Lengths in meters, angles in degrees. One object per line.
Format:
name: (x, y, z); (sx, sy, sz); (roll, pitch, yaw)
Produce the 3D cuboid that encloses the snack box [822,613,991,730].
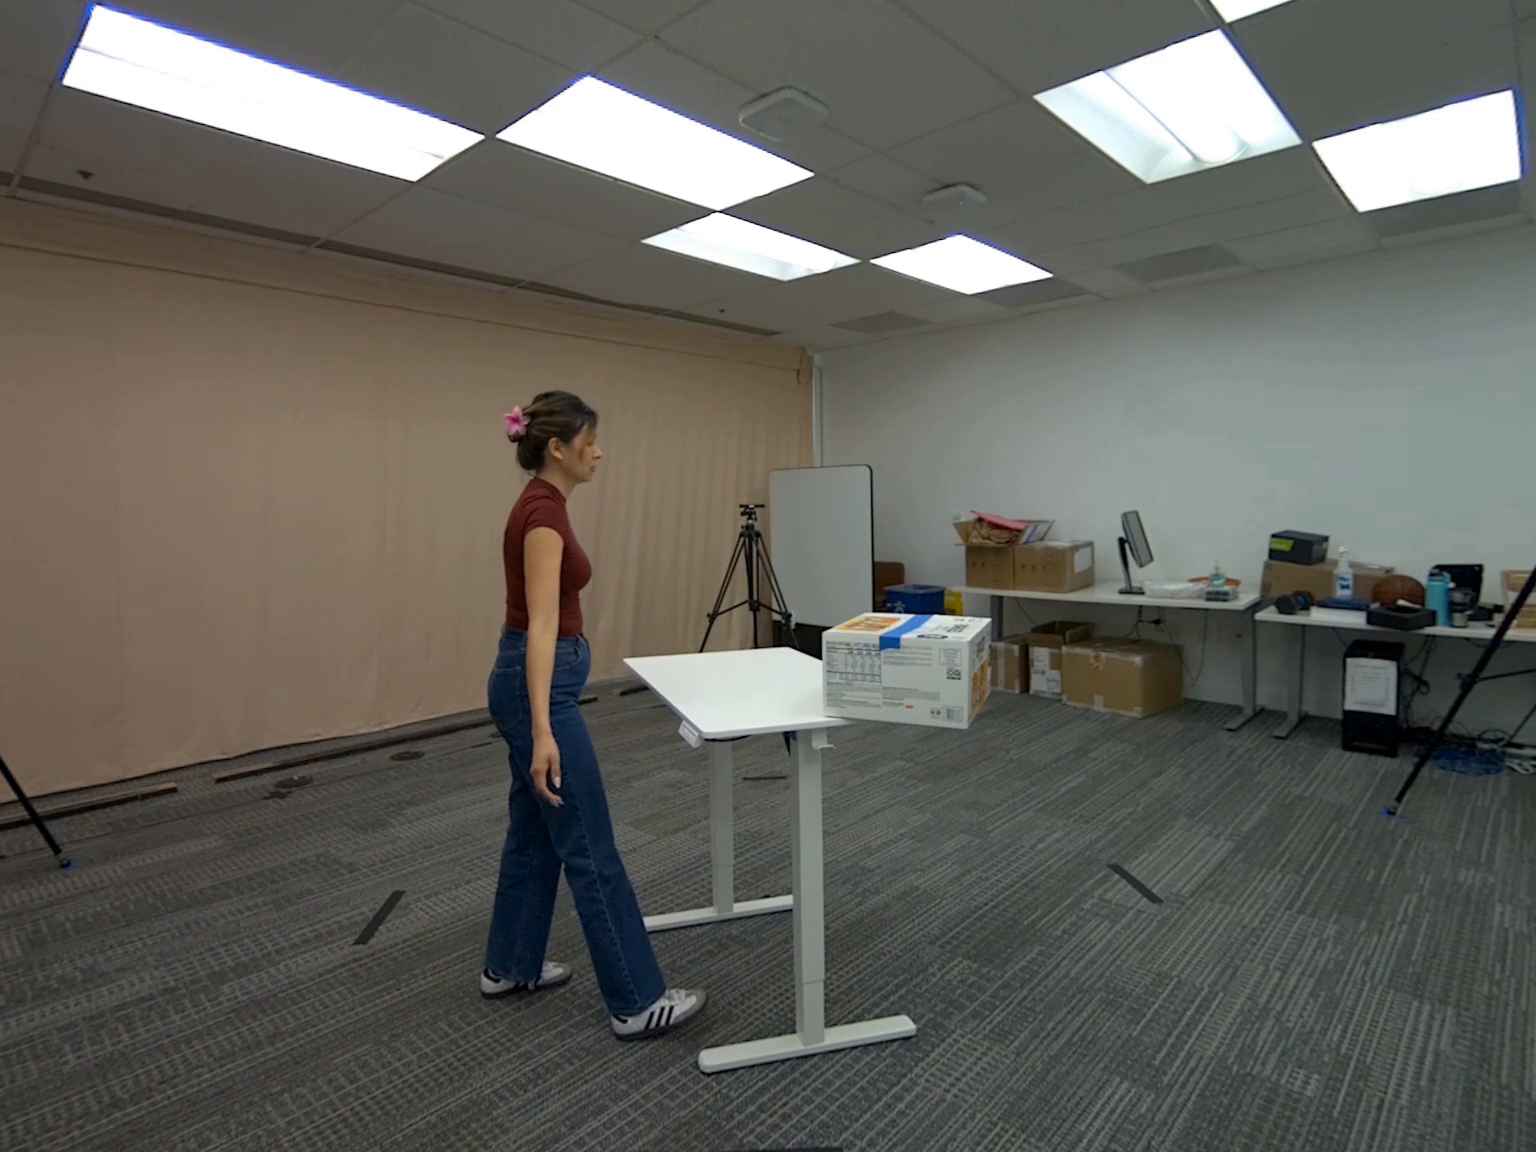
snack box: (0.357, 0.224, 2.112); (0.349, 0.205, 0.396); (1, 5, 24)
